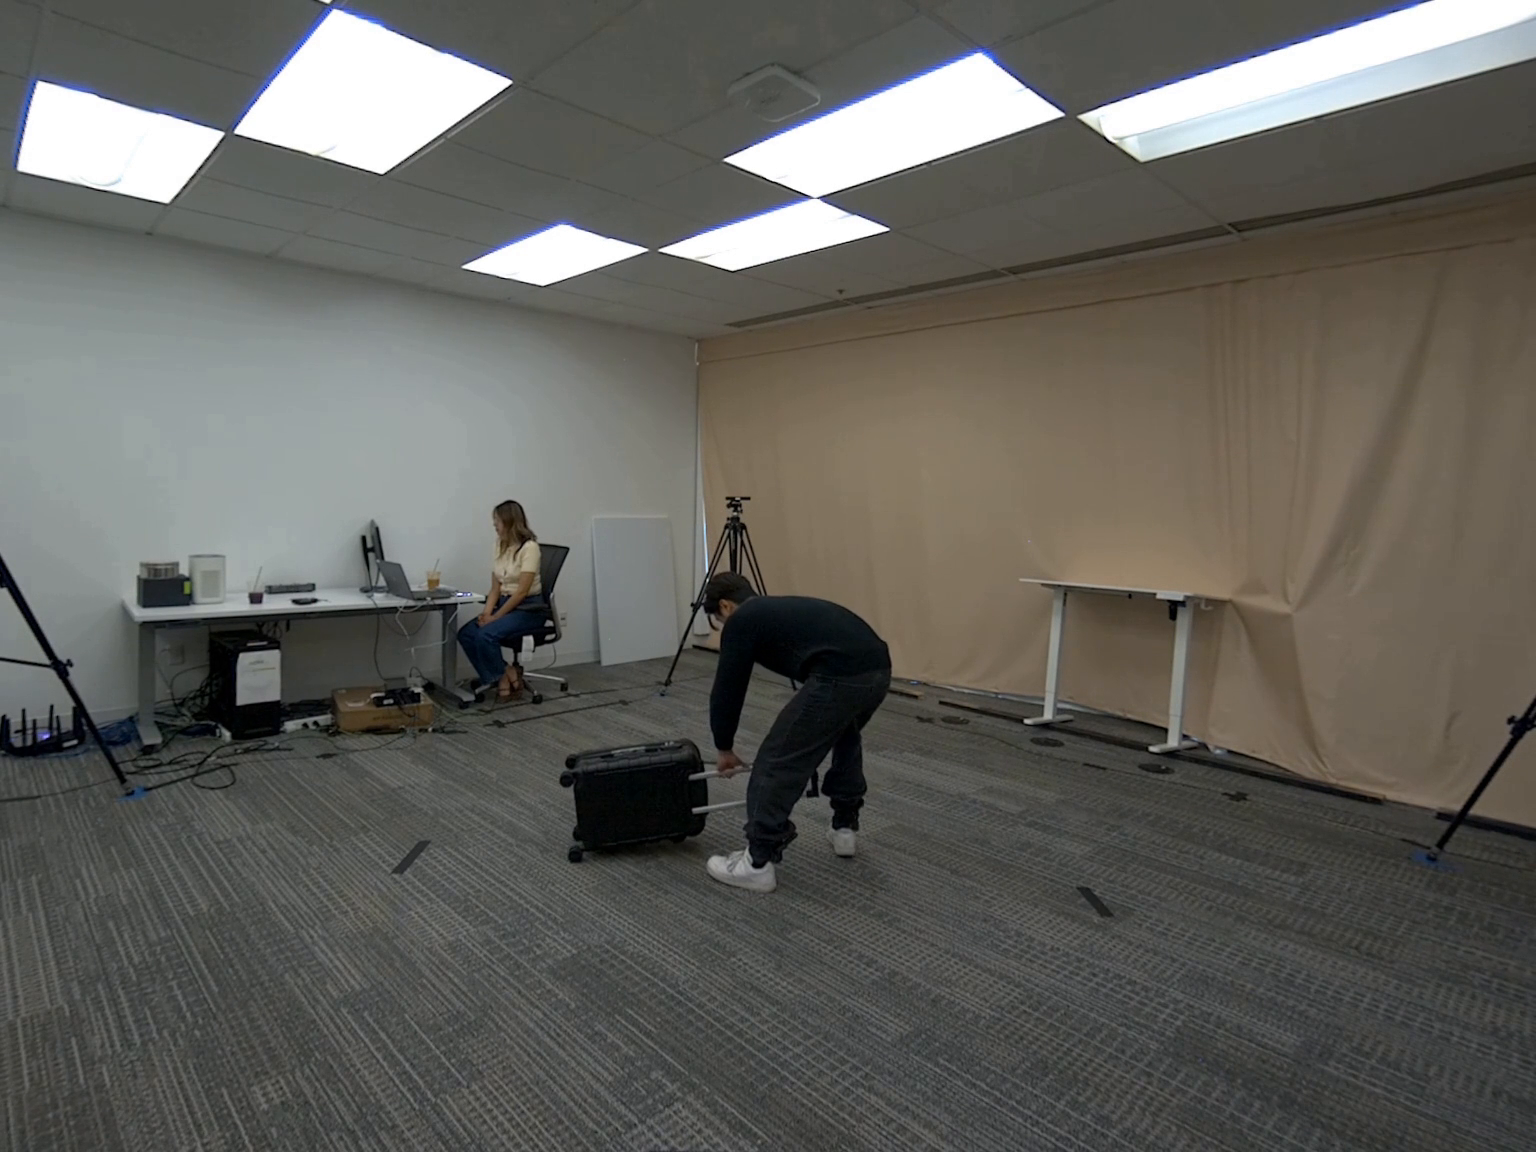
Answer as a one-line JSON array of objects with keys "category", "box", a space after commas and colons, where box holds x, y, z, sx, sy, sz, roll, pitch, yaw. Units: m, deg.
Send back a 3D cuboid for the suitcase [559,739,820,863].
[{"category": "suitcase", "box": [-0.324, 0.834, 3.344, 0.973, 0.383, 0.259, -7, 4, -8]}]
